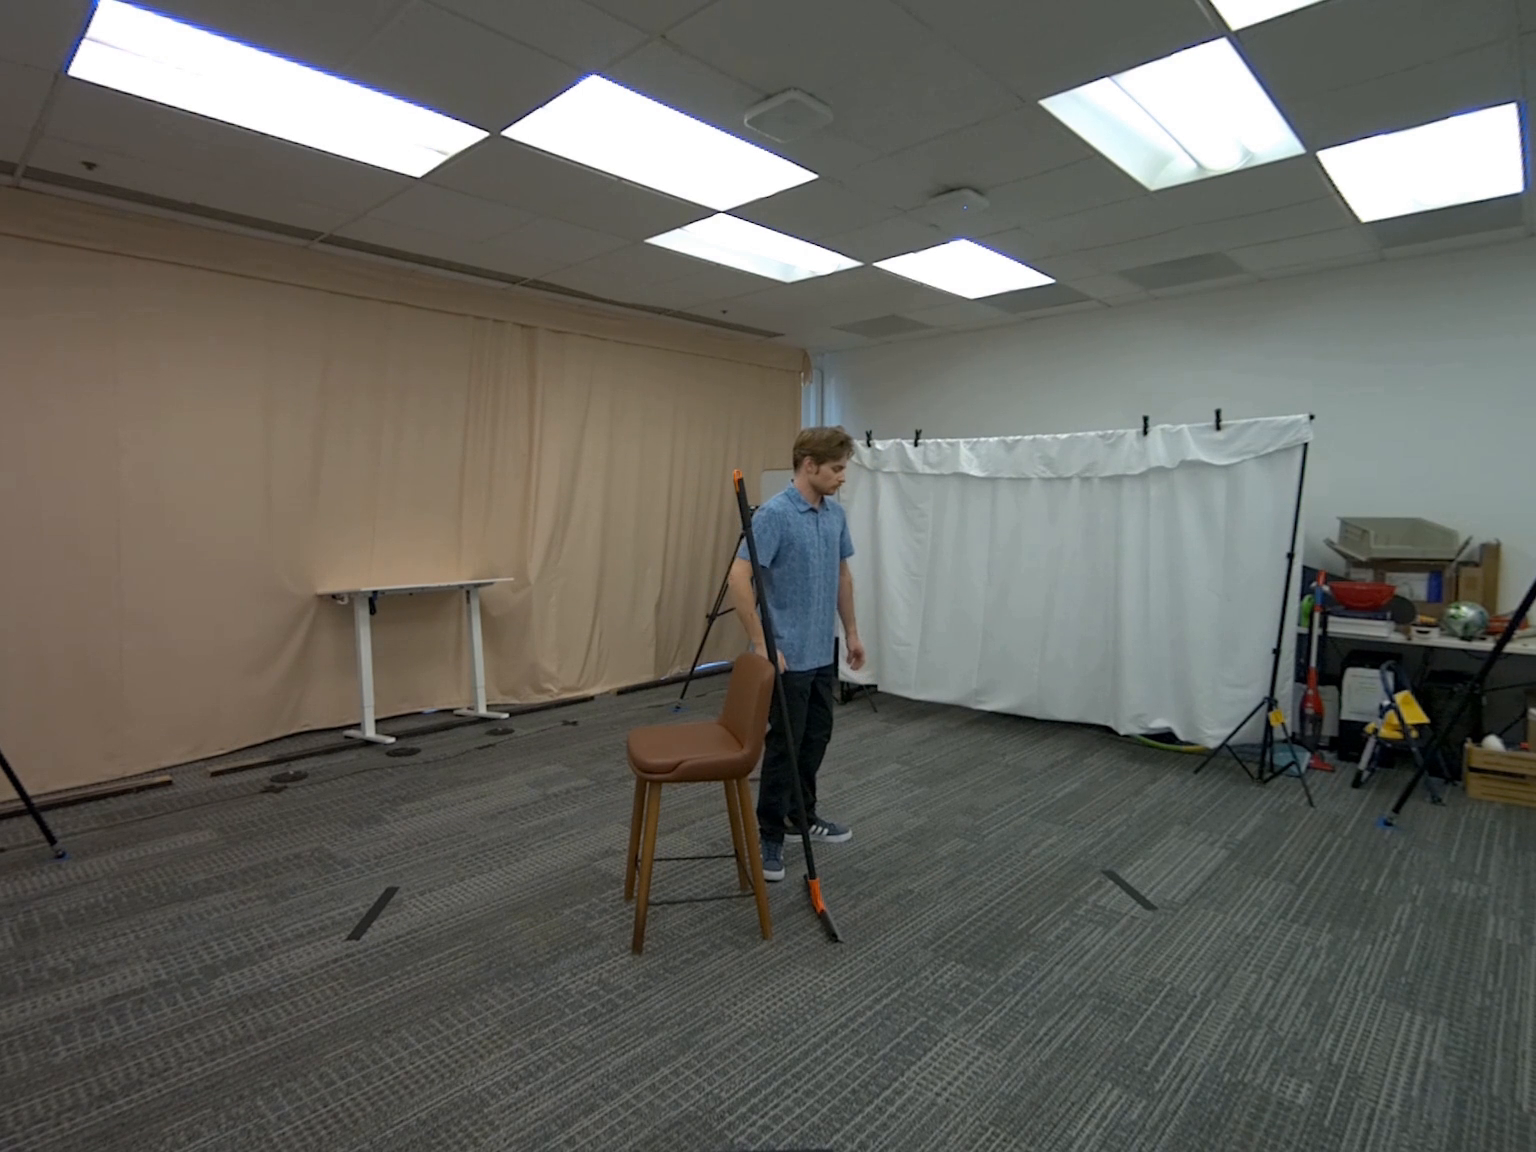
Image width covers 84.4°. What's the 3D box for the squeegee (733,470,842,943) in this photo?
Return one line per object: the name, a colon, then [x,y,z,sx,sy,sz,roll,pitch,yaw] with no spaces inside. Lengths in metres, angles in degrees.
squeegee: [0.050,0.386,2.858,0.054,1.532,0.429,-7,5,25]
